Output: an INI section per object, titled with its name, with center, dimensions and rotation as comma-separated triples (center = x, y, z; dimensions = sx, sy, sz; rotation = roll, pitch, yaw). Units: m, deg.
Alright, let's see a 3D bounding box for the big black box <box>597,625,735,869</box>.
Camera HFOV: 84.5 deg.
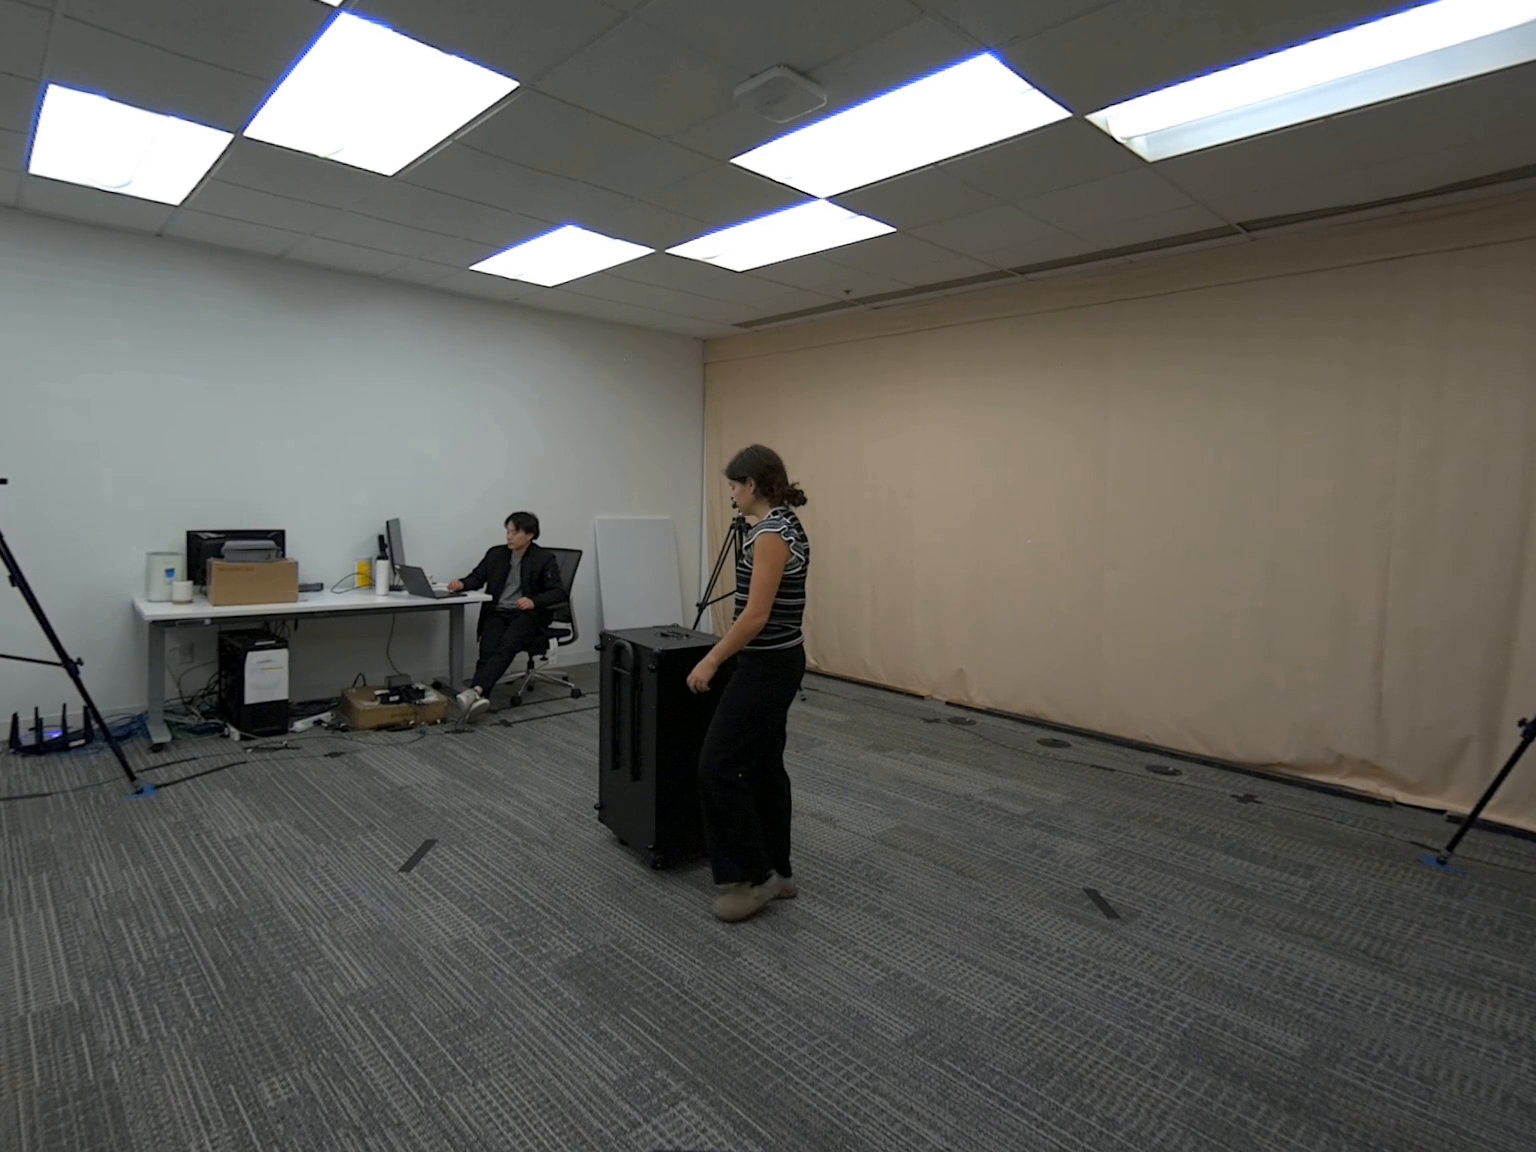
[big black box]
center = -0.415, 0.659, 3.293
dimensions = 0.388, 0.859, 0.534
rotation = -2, 5, -34
